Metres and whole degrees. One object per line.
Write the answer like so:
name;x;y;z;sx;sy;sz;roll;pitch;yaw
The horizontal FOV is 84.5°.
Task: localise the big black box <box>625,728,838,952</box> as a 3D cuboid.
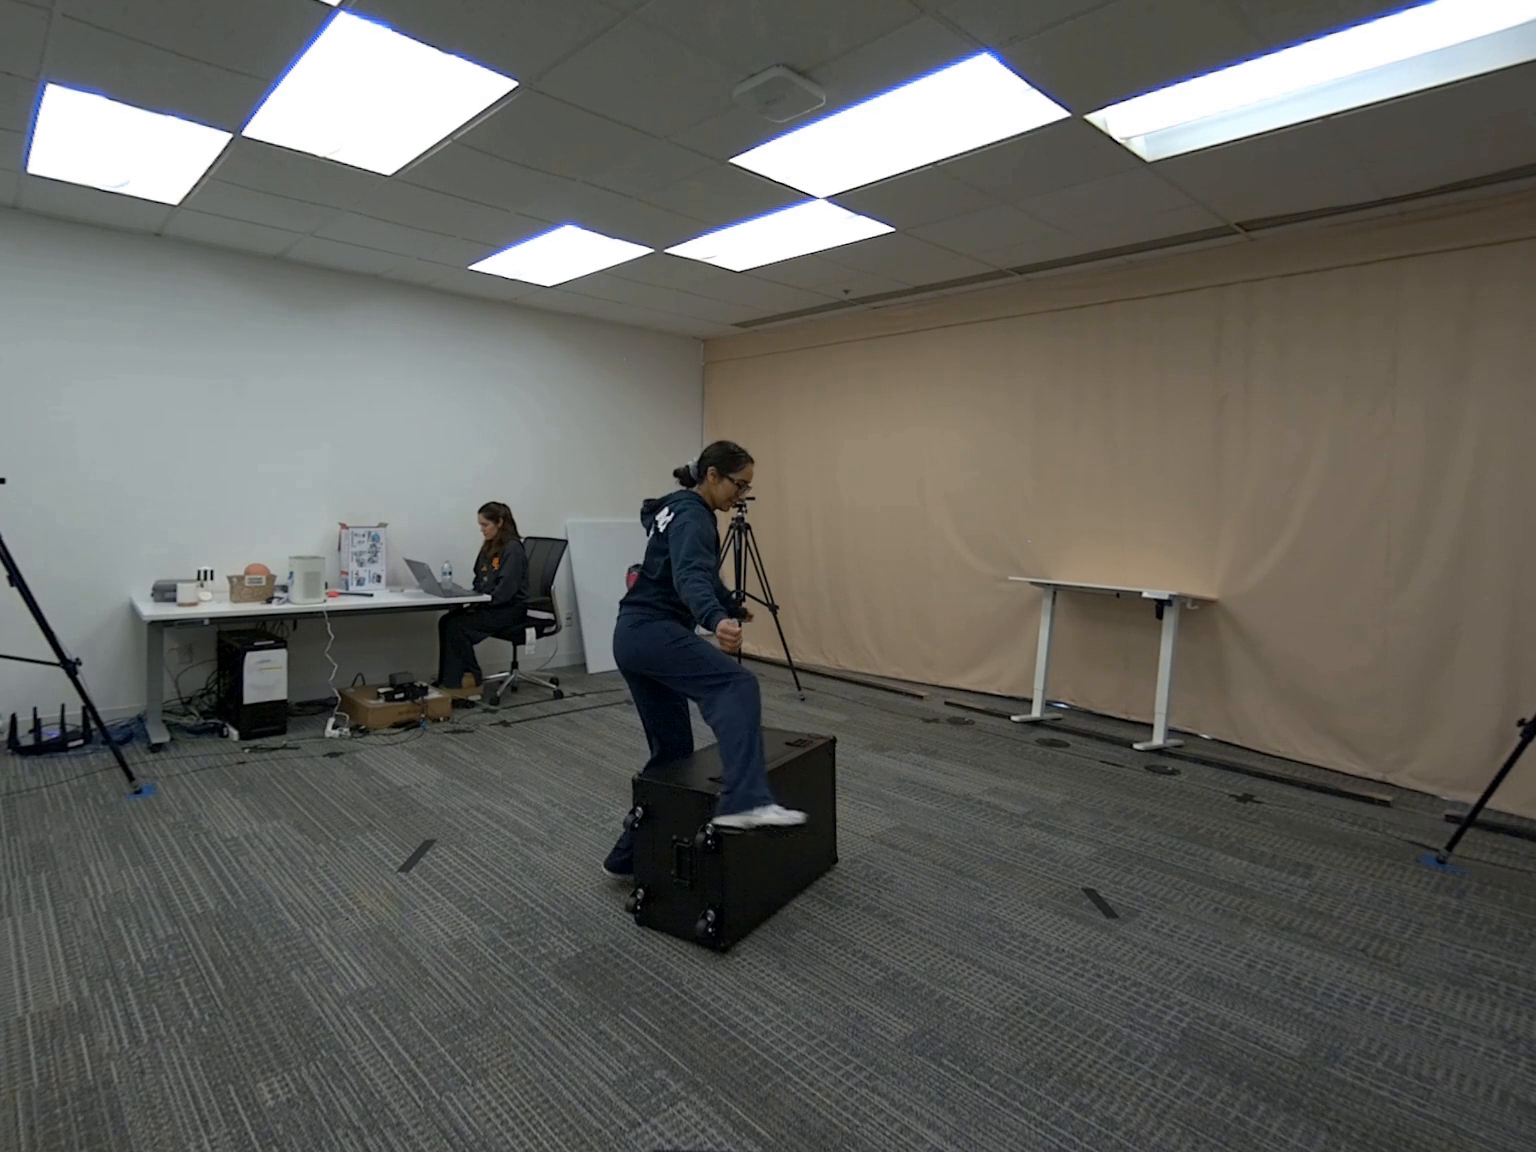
big black box;-0.117;0.867;2.941;0.404;0.520;0.845;0;3;30
